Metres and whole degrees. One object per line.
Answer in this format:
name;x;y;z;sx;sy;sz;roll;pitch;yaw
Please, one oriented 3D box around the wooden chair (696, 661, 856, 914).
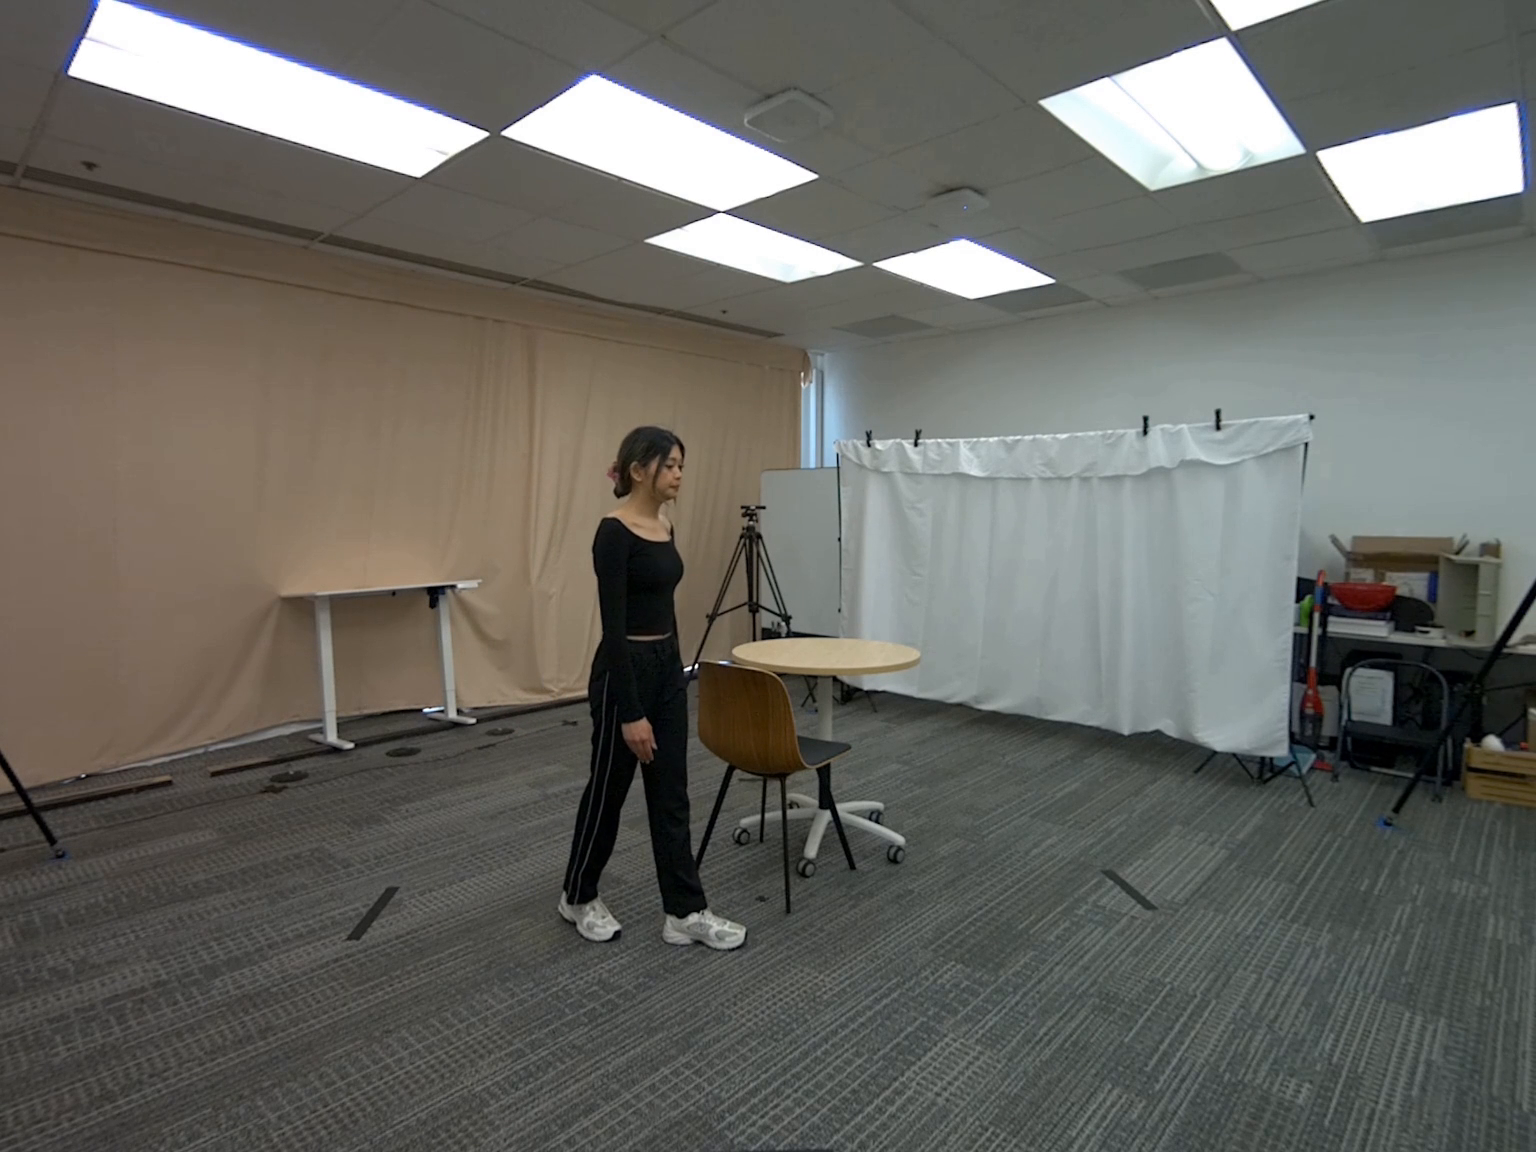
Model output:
wooden chair;0.030;0.701;3.162;0.493;0.873;0.509;2;8;39
